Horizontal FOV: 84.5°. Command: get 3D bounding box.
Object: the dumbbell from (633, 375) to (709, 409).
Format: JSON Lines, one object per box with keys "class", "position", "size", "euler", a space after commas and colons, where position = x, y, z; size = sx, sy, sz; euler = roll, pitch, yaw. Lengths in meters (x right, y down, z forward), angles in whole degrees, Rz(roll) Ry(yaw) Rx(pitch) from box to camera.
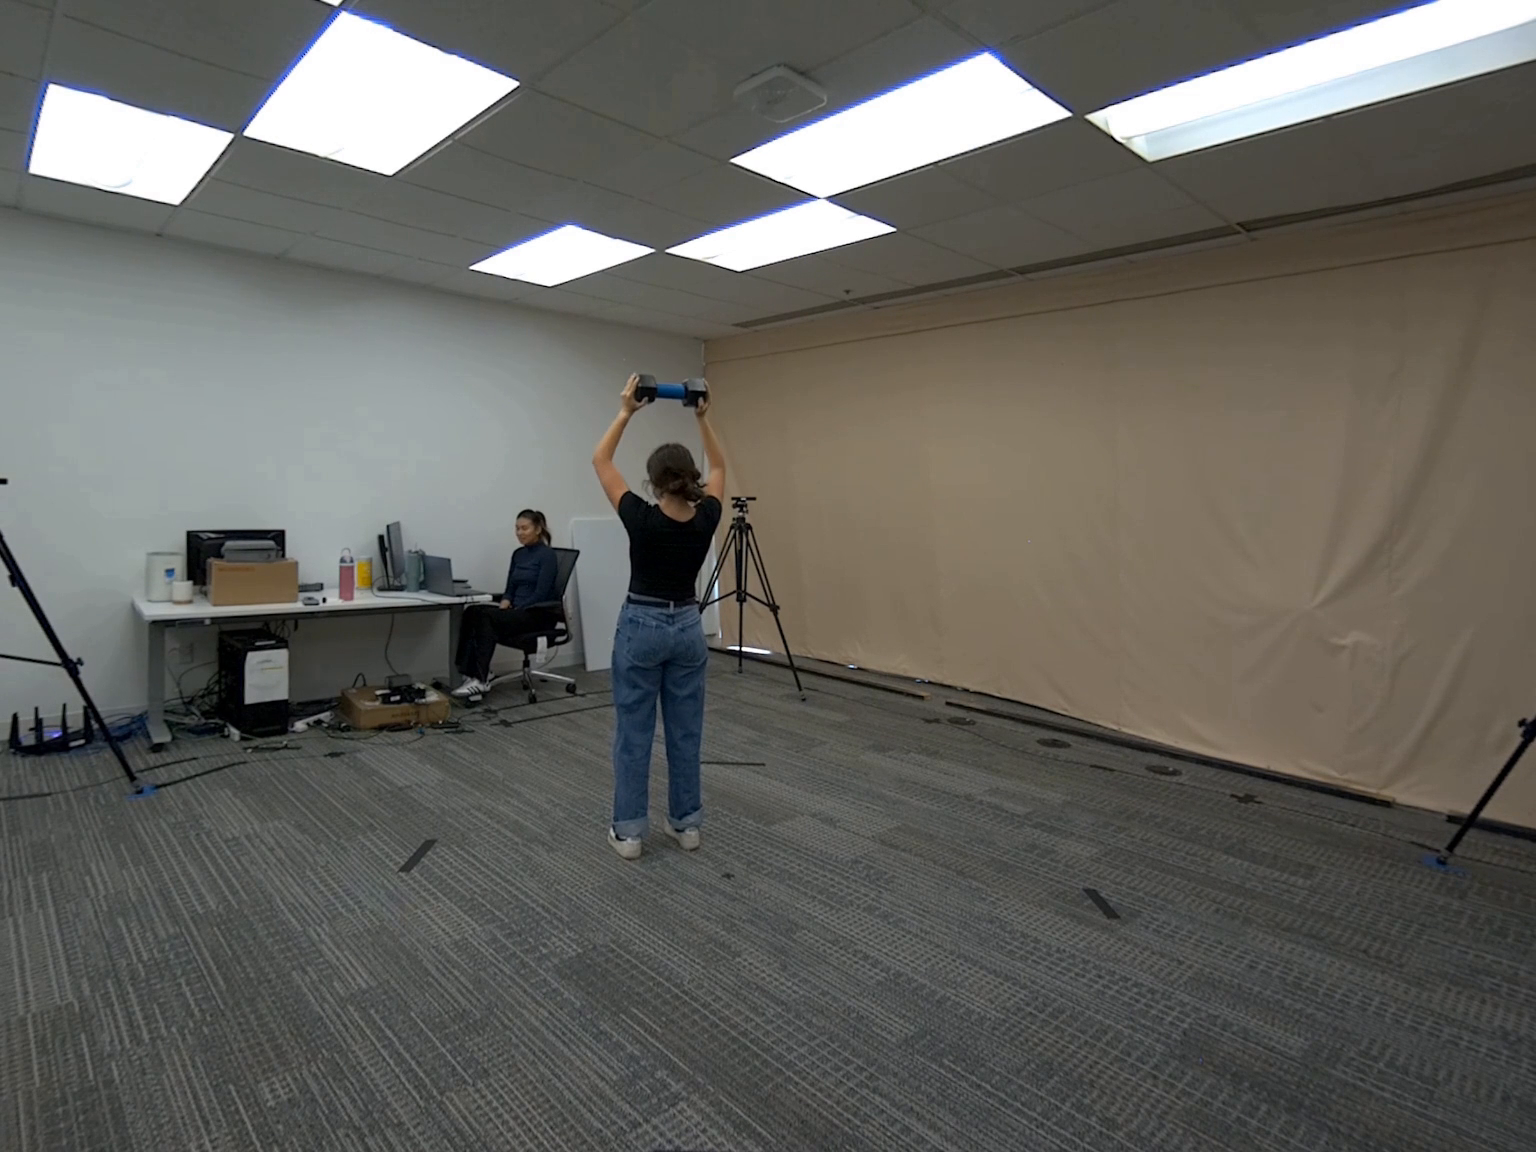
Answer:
{"class": "dumbbell", "position": [-0.403, -0.732, 3.357], "size": [0.288, 0.126, 0.108], "euler": [-3, -30, -26]}
